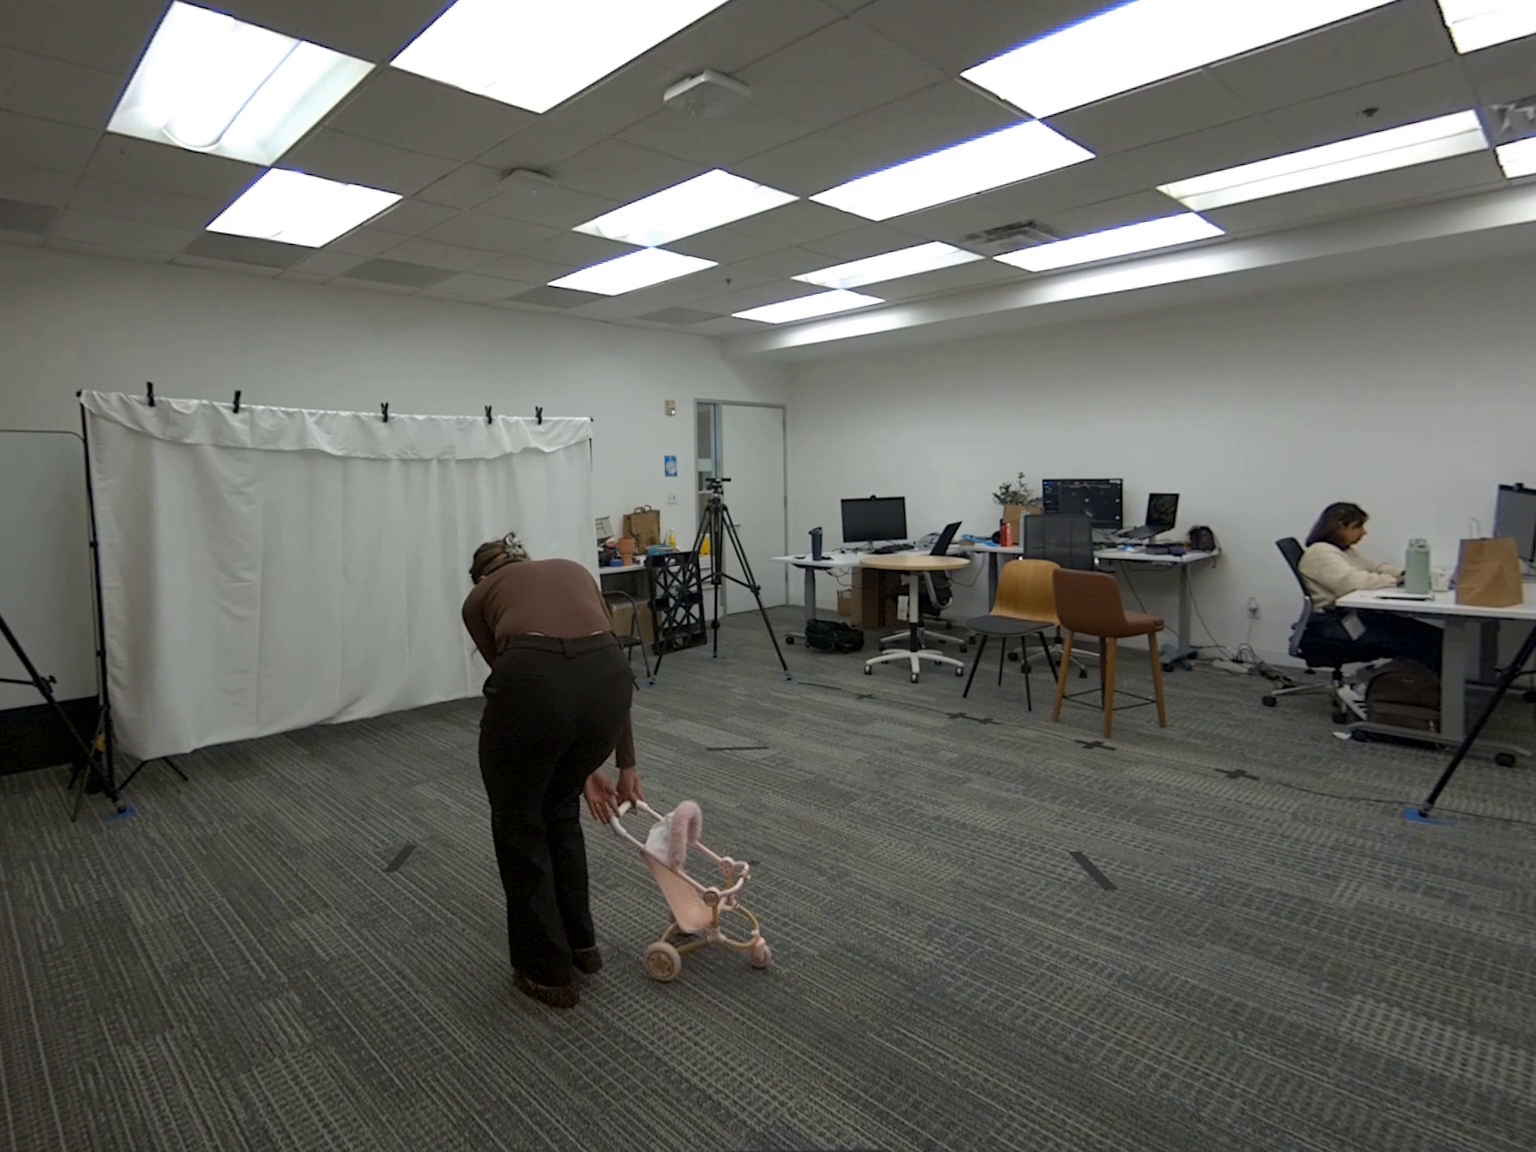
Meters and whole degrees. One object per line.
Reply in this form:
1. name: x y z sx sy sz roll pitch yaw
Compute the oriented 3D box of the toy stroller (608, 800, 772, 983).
1. toy stroller: -0.214 0.895 2.478 0.345 0.535 0.278 -18 0 18
